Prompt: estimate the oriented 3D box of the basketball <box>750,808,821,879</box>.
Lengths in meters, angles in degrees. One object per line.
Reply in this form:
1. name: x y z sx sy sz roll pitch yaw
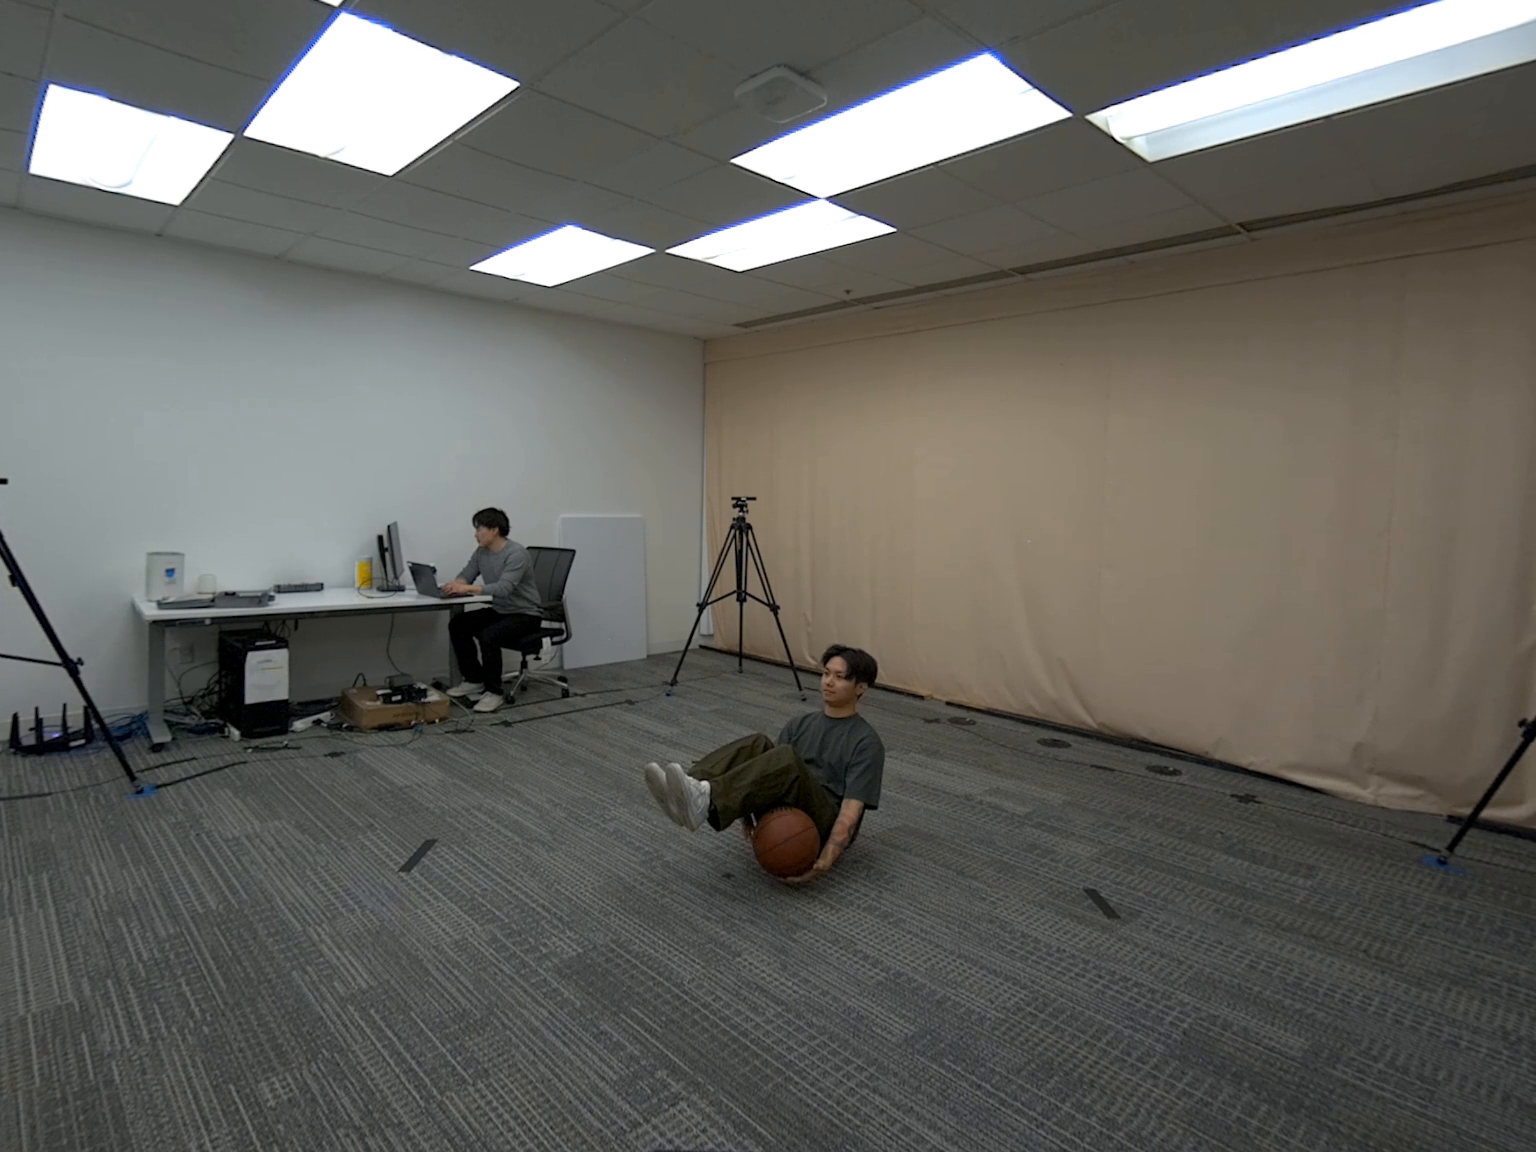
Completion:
1. basketball: 0.045 0.938 2.983 0.236 0.235 0.237 1 4 -1
